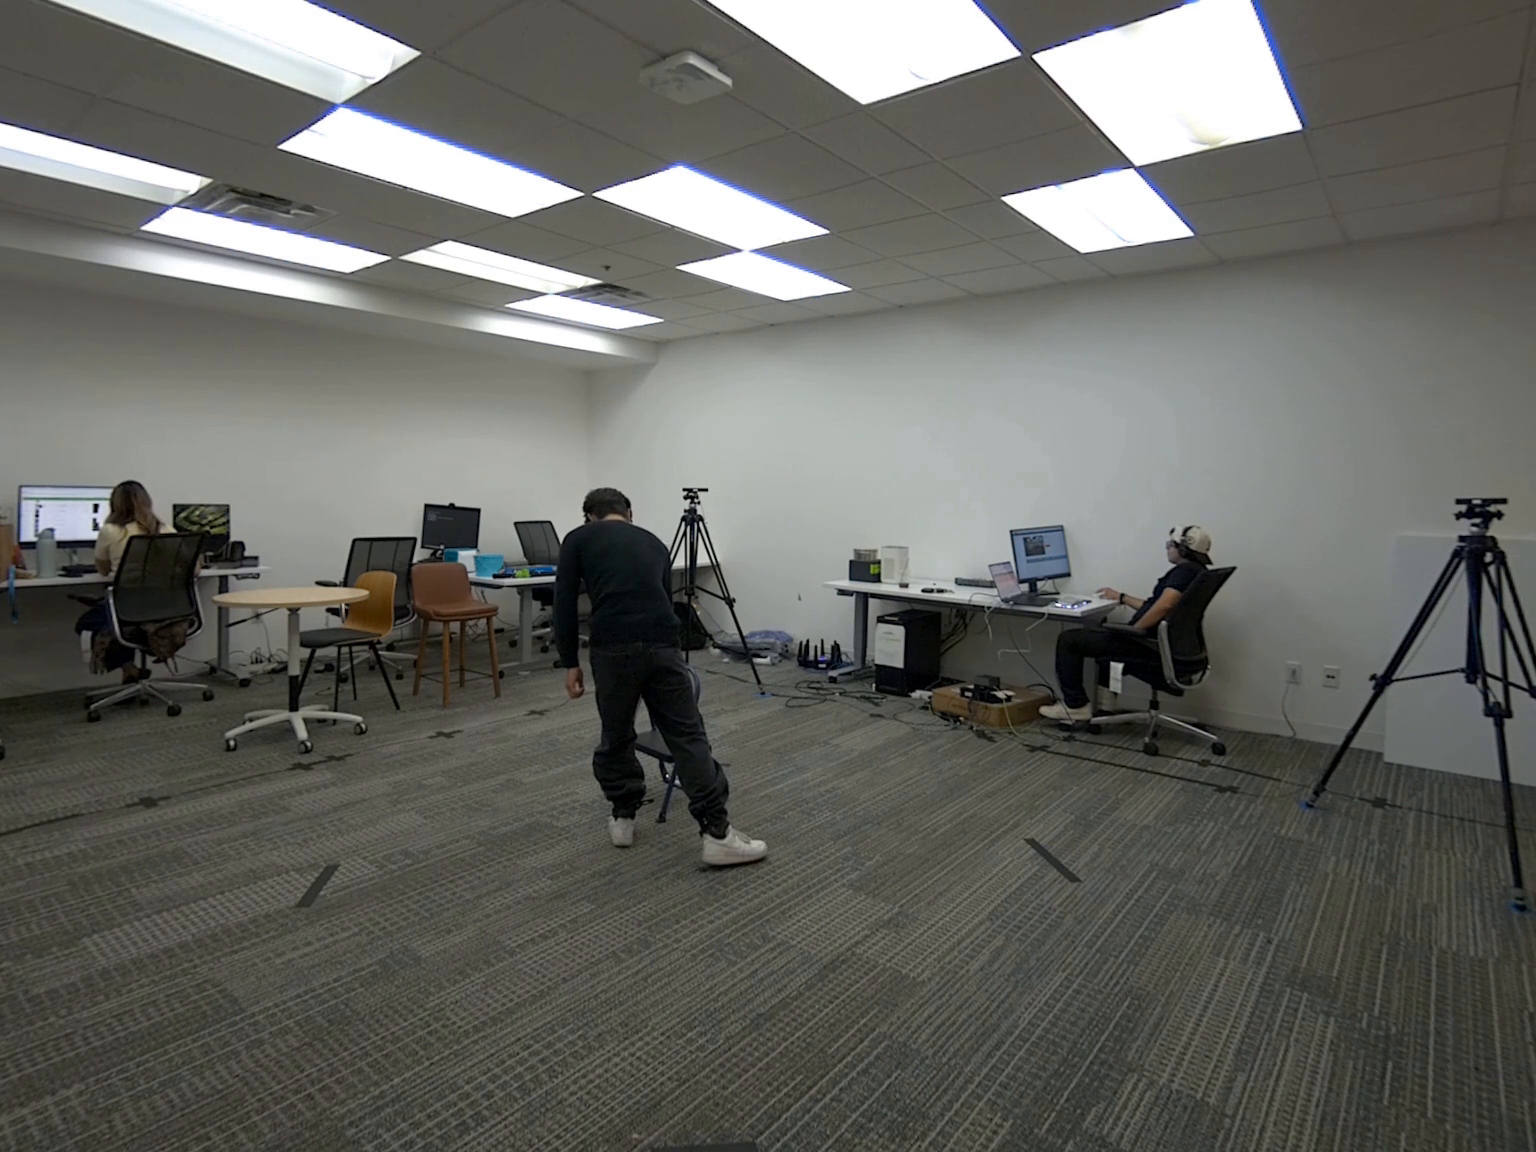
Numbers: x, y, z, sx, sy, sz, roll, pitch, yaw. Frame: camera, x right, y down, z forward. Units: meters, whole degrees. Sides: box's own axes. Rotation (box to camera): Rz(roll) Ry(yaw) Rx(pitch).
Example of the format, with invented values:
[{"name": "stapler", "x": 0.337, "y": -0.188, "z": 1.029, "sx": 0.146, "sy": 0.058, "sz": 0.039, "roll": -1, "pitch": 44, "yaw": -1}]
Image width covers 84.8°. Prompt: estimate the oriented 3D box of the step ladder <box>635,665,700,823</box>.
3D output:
[{"name": "step ladder", "x": -0.473, "y": 0.695, "z": 3.790, "sx": 0.339, "sy": 0.604, "sz": 0.445, "roll": -2, "pitch": 5, "yaw": -42}]
